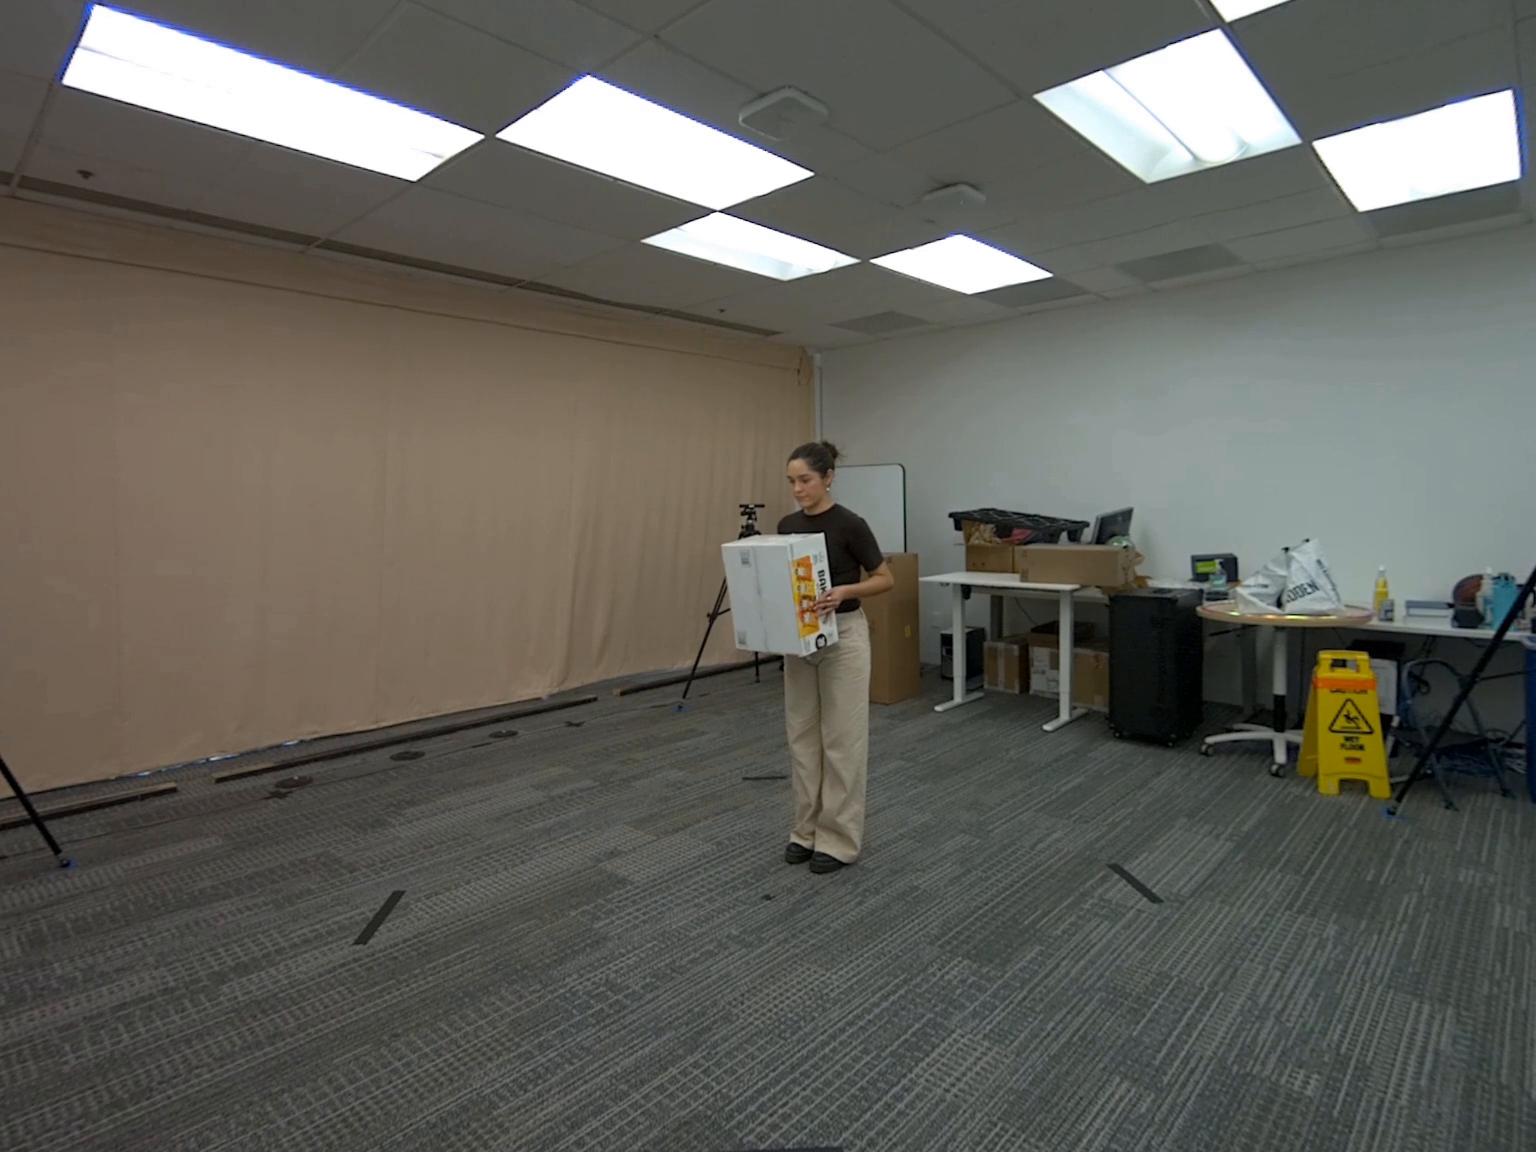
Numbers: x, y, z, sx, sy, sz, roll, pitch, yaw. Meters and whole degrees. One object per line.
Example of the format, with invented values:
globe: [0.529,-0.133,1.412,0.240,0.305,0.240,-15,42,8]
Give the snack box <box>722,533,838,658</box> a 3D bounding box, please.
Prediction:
snack box: [0.045,0.065,3.113,0.351,0.402,0.200,0,12,45]
